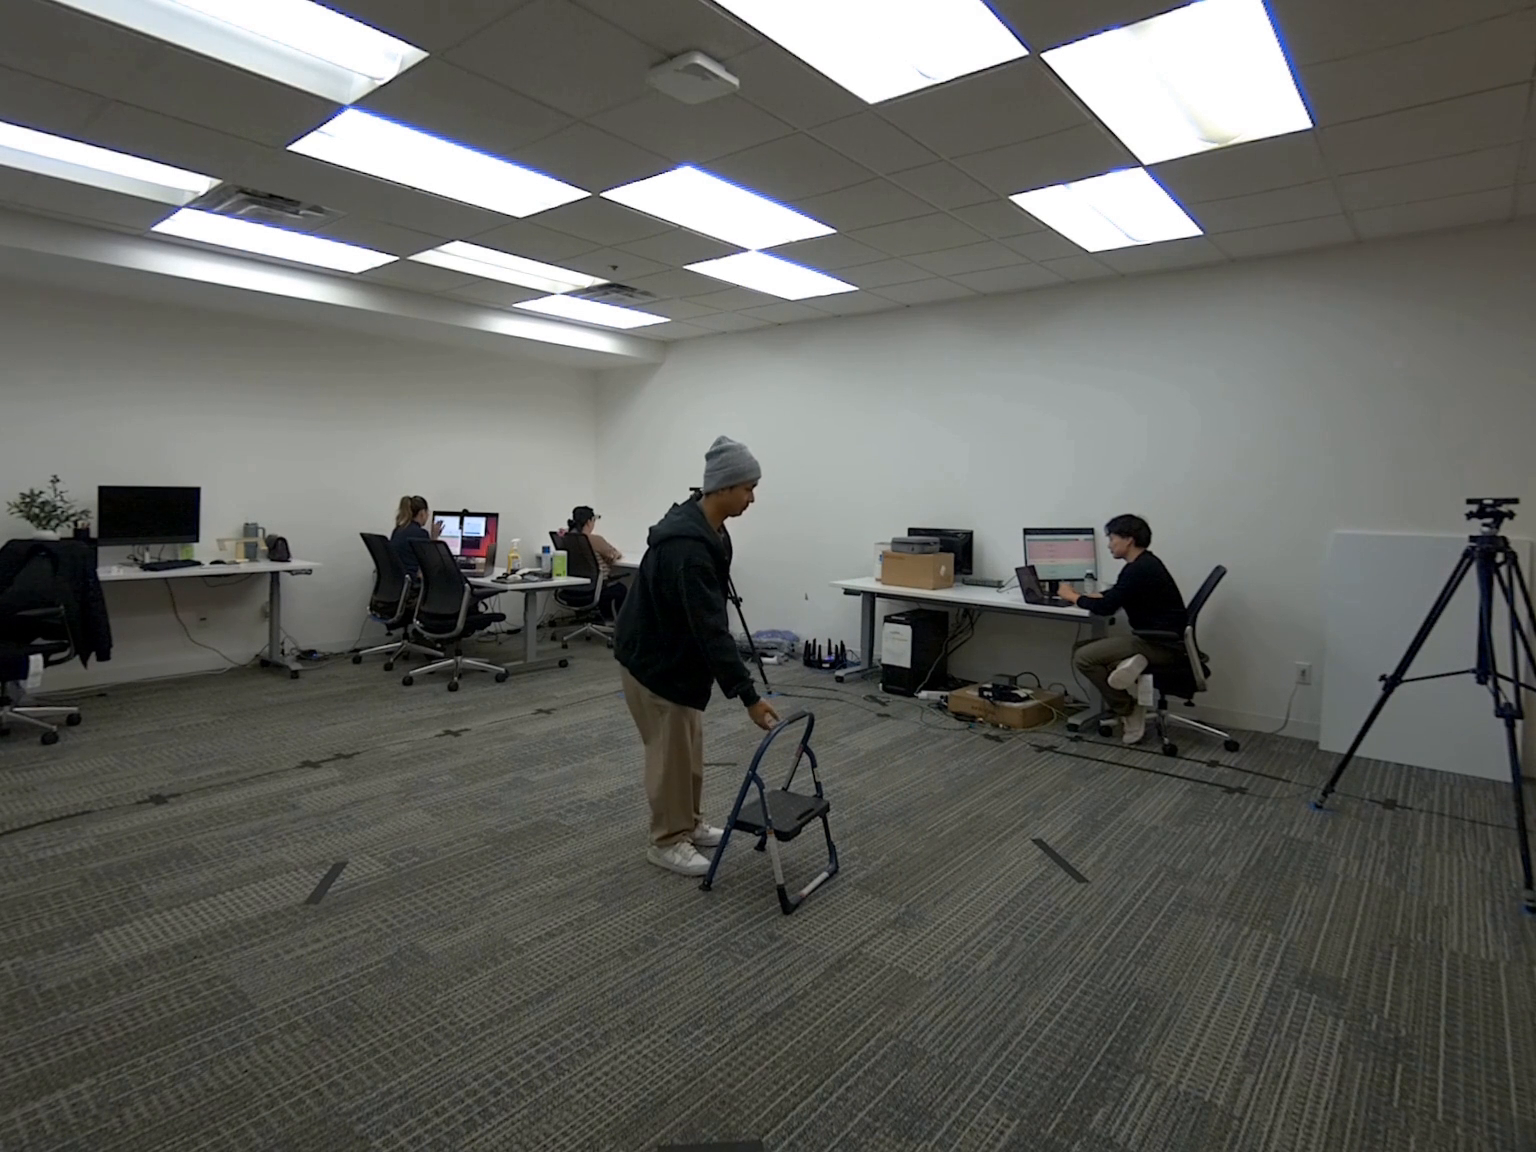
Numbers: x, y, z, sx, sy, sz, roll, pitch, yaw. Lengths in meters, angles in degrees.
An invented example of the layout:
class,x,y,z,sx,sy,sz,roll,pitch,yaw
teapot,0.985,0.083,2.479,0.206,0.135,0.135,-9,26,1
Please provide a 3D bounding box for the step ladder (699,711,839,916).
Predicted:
class,x,y,z,sx,sy,sz,roll,pitch,yaw
step ladder,0.016,0.776,3.017,0.359,0.604,0.419,3,4,29
